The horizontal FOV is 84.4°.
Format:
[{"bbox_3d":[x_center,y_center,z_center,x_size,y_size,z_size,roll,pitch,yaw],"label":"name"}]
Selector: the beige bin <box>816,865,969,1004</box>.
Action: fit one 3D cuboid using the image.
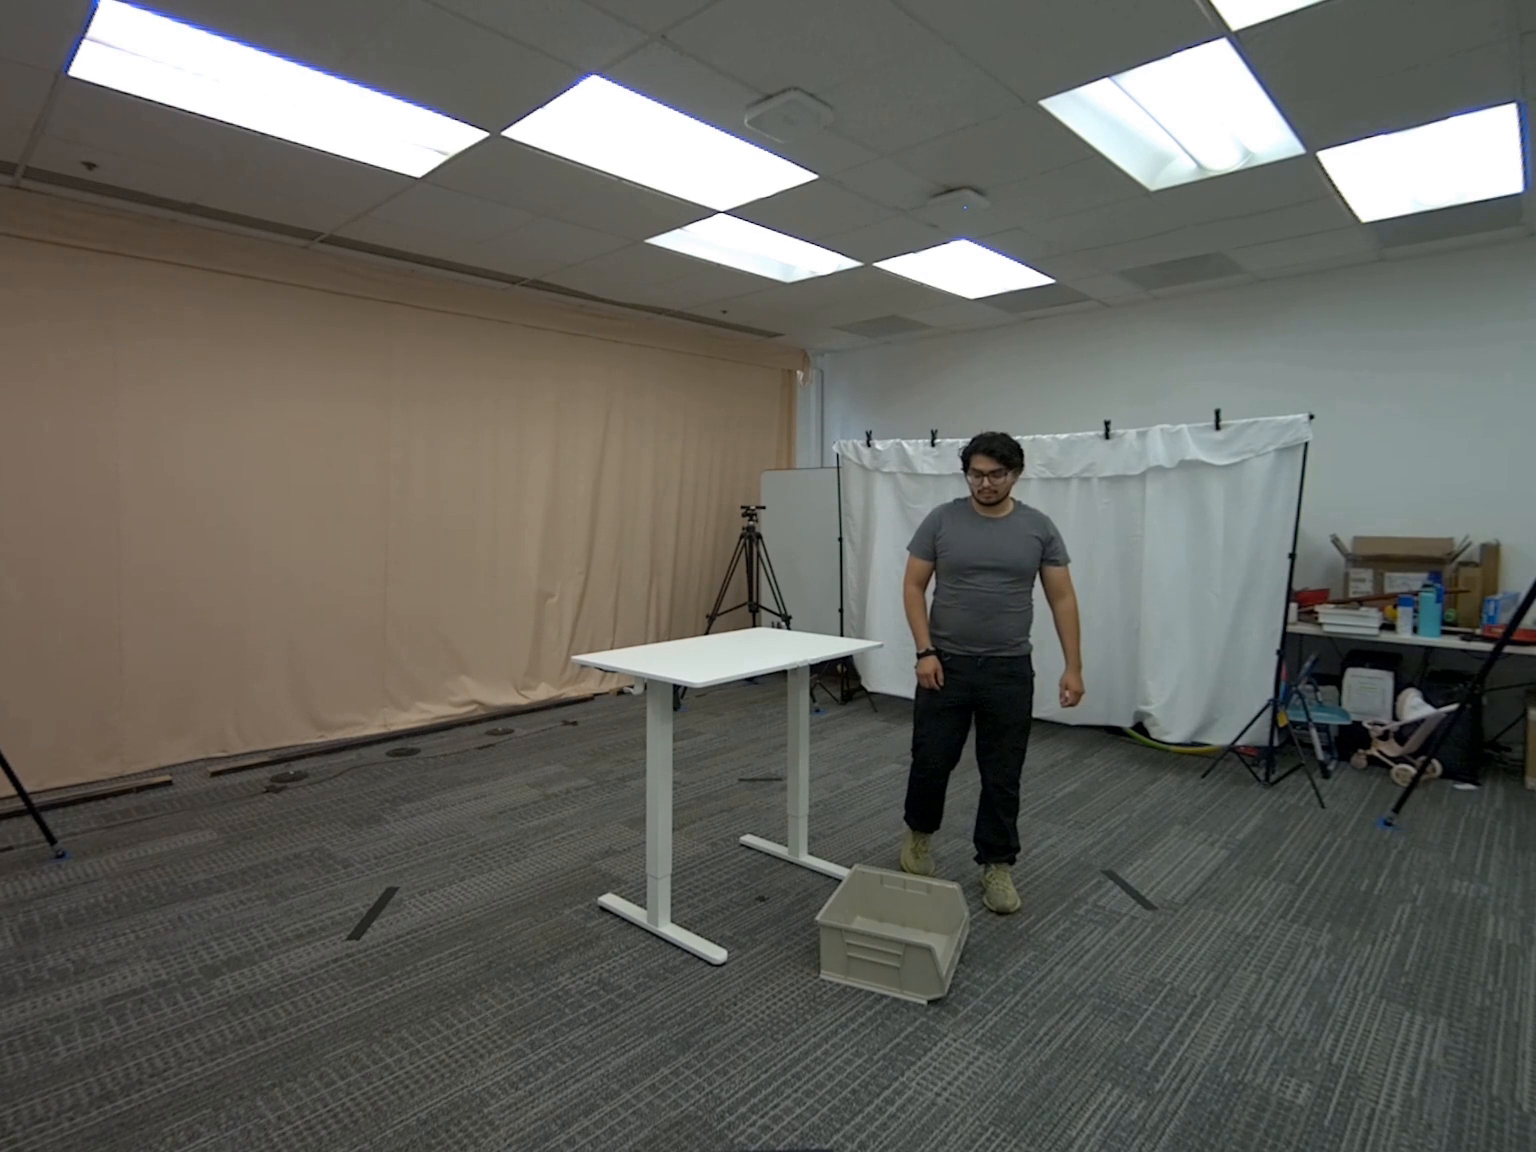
[{"bbox_3d":[0.397,1.089,2.586,0.387,0.188,0.413,1,5,23],"label":"beige bin"}]
